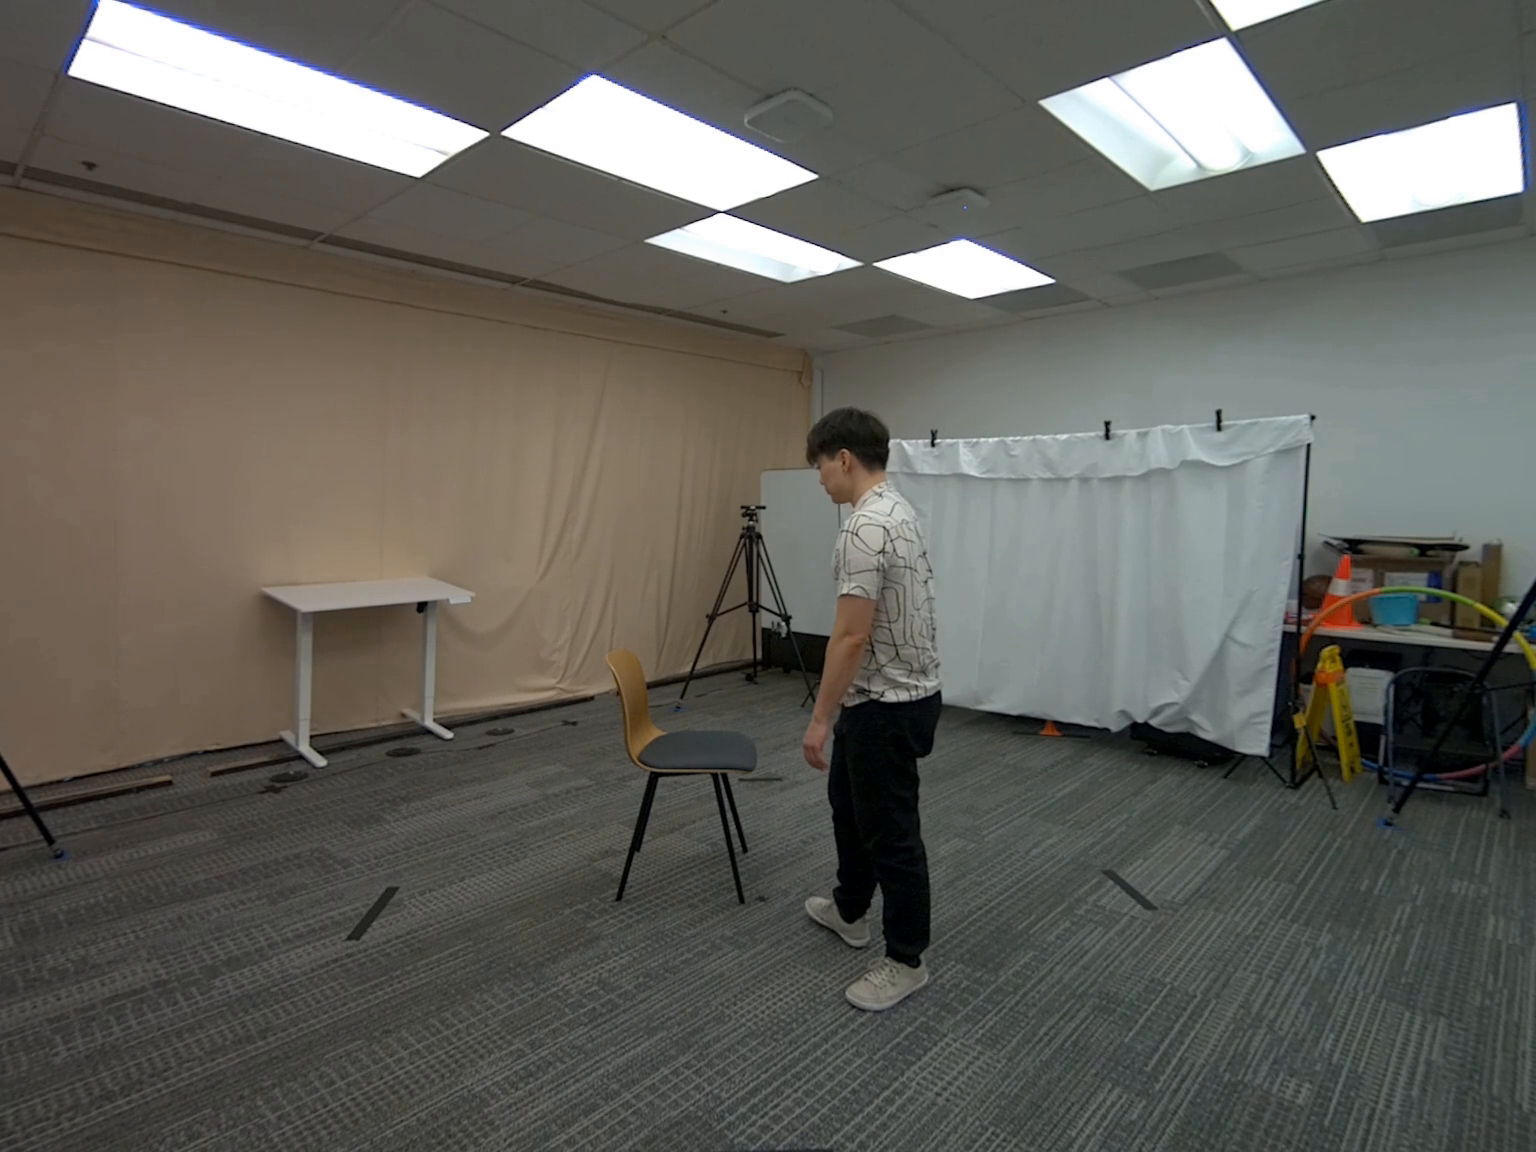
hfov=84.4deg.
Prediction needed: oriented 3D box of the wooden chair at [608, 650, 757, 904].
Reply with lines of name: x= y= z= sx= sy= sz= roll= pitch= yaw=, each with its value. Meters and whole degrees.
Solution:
wooden chair: x=-0.301 y=0.702 z=3.152 sx=0.525 sy=0.876 sz=0.477 roll=-5 pitch=2 yaw=2
